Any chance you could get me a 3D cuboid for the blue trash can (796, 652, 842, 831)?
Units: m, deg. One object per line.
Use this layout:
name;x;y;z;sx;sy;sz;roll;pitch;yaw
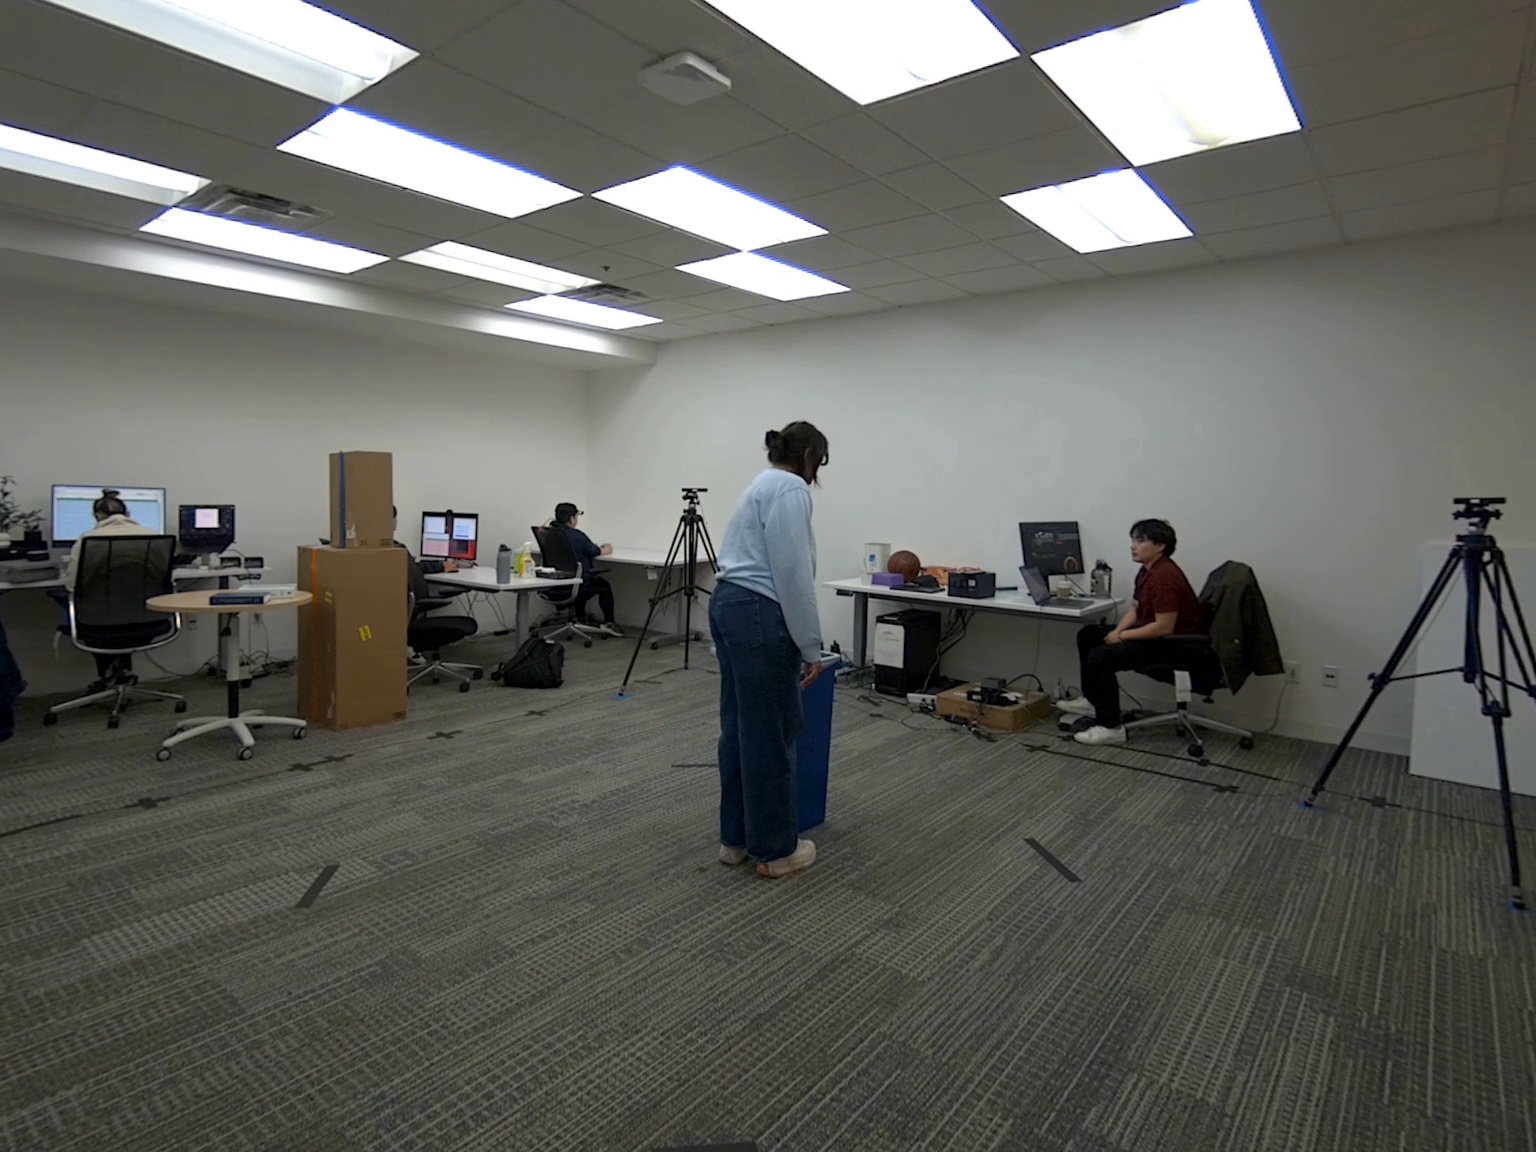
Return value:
blue trash can;0.043;0.672;3.566;0.387;0.711;0.366;4;4;41
